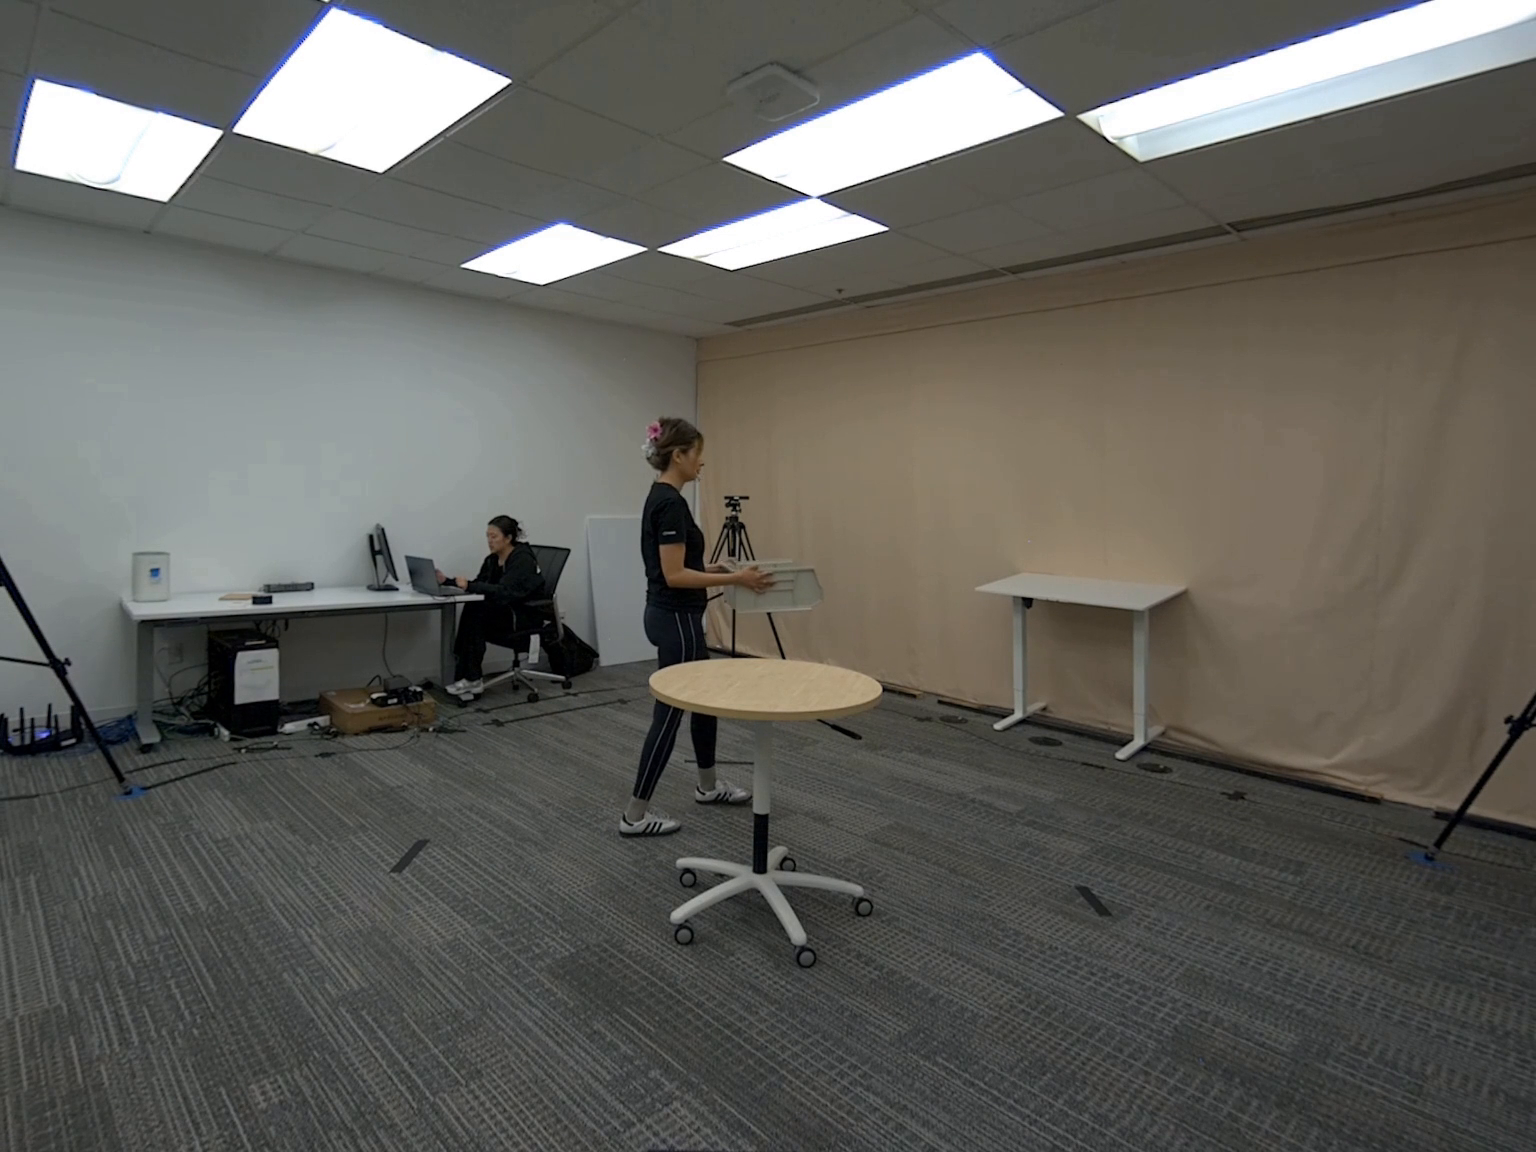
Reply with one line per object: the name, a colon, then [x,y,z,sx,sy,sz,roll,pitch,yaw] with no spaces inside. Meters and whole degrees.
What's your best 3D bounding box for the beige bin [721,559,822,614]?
beige bin: [0.014,0.046,3.628,0.375,0.188,0.425,-4,4,-7]
